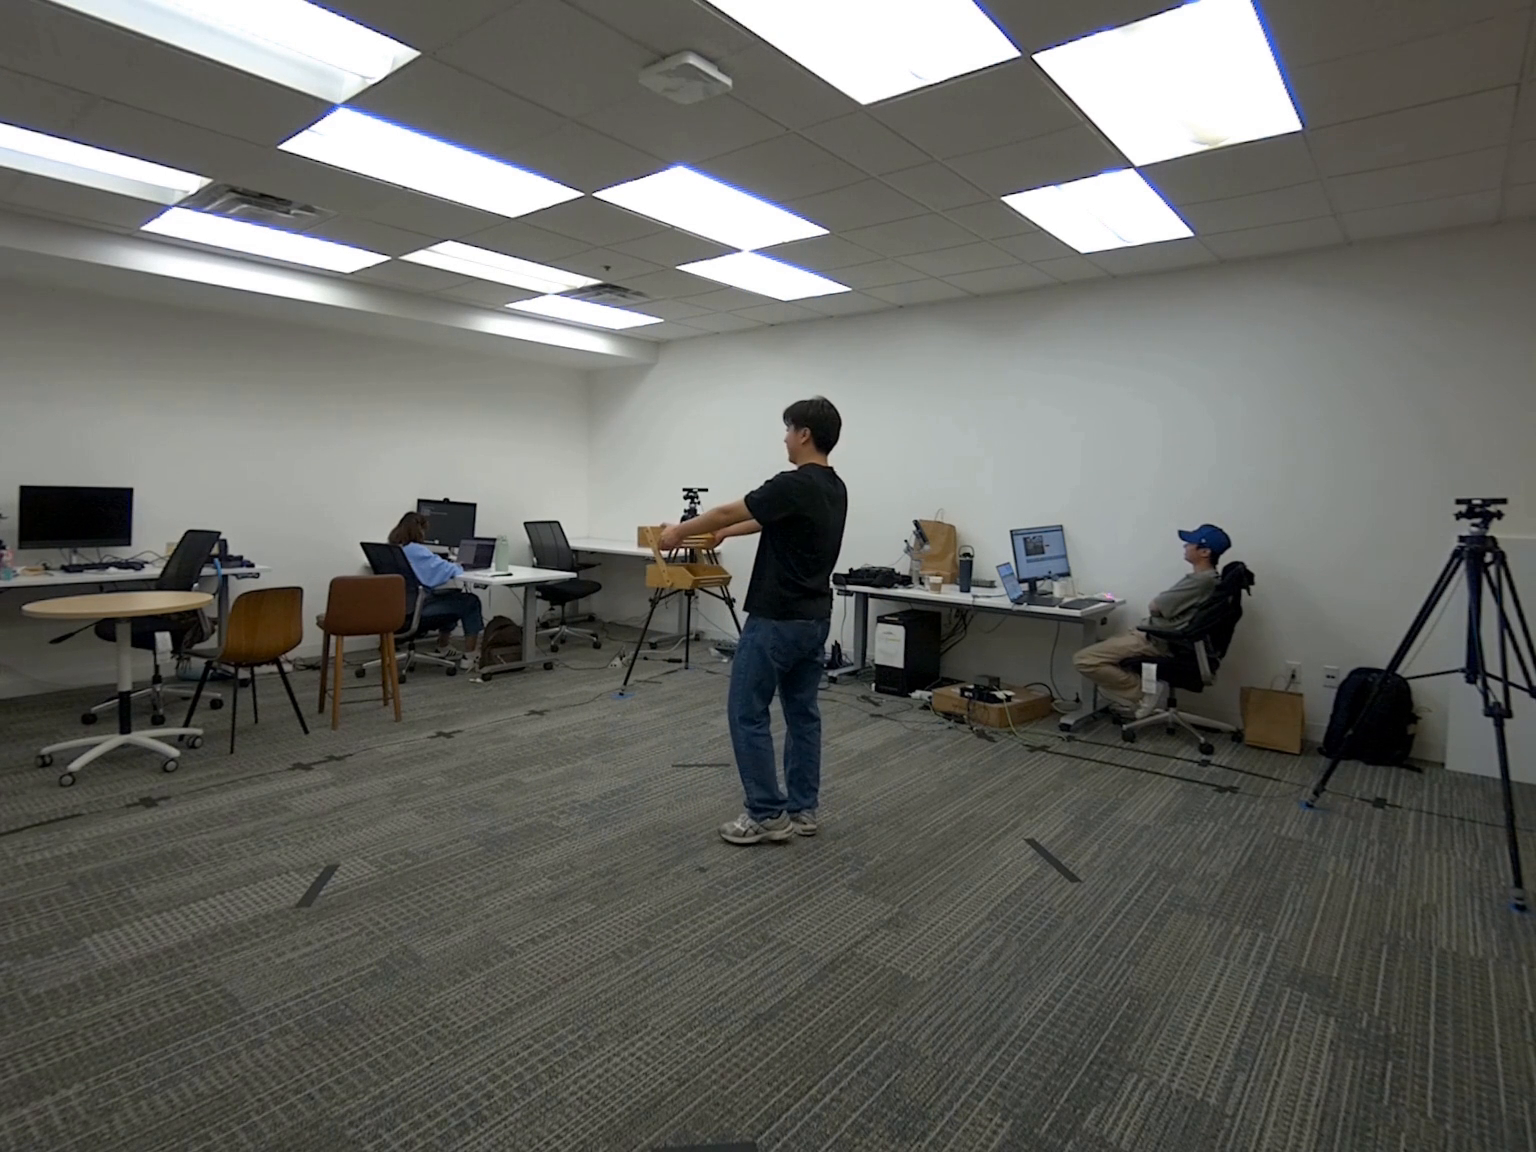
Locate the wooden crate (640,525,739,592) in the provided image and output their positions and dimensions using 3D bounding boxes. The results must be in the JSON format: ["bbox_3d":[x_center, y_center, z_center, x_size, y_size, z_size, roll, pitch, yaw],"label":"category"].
[{"bbox_3d":[-0.347,-0.089,3.725,0.311,0.273,0.315,2,2,32],"label":"wooden crate"}]
